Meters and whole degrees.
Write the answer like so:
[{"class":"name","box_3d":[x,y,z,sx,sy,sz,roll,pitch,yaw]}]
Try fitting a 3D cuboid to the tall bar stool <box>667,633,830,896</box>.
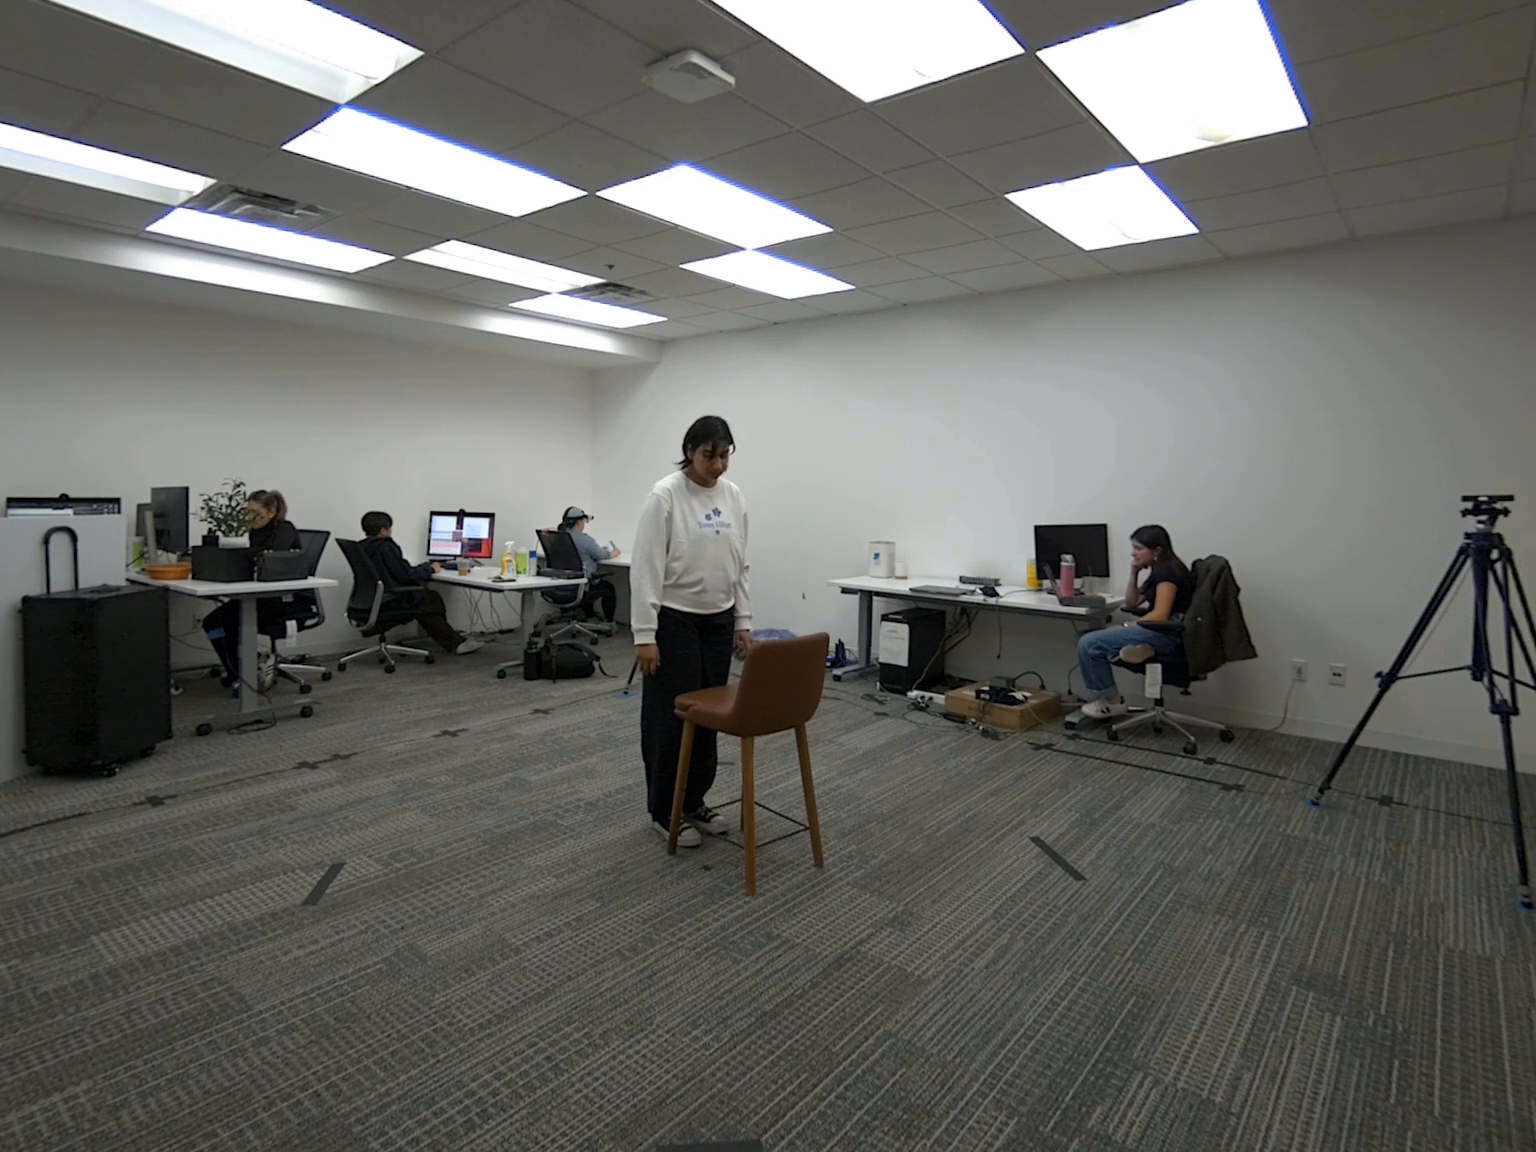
[{"class":"tall bar stool","box_3d":[-0.069,0.624,3.161,0.442,0.887,0.484,-1,5,-42]}]
